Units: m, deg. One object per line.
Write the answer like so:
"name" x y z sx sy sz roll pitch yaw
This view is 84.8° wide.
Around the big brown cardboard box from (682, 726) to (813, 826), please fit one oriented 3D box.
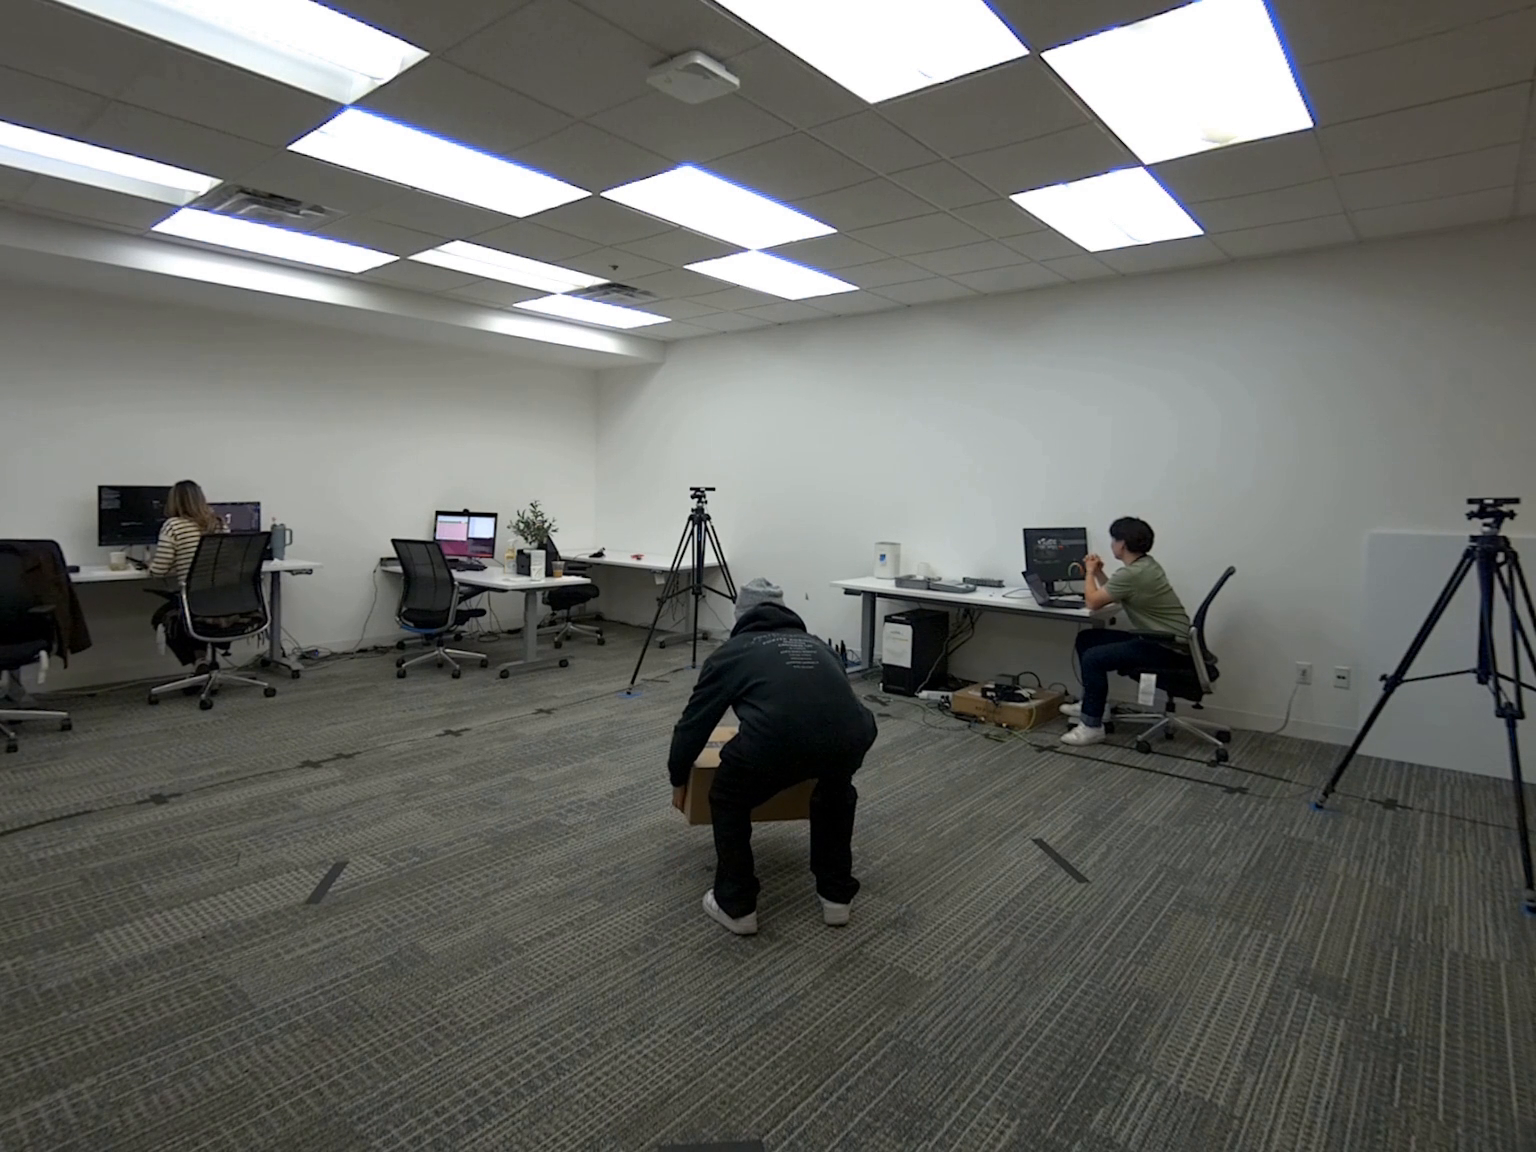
"big brown cardboard box" -0.064 0.742 3.222 0.581 0.232 0.426 2 8 -13
